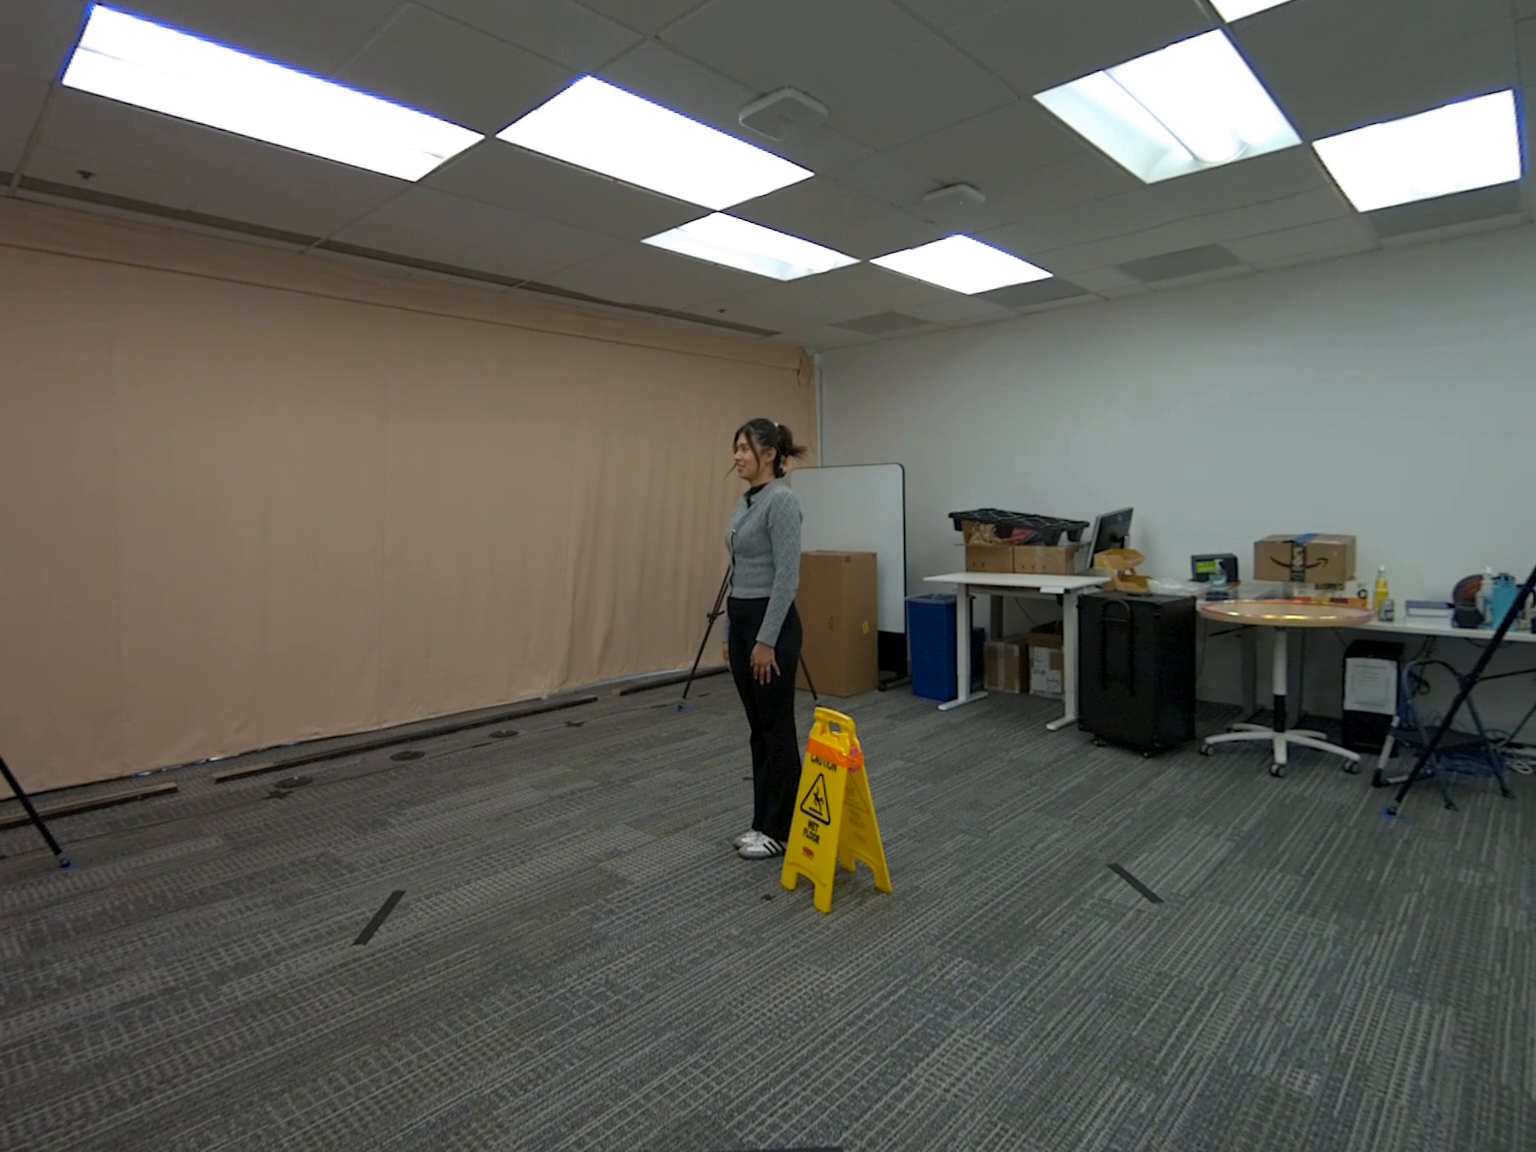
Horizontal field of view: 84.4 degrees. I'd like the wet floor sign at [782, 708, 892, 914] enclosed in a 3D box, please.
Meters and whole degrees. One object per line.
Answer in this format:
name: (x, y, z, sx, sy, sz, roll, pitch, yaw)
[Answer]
wet floor sign: (0.243, 0.807, 3.023, 0.282, 0.645, 0.291, -3, 4, -32)
